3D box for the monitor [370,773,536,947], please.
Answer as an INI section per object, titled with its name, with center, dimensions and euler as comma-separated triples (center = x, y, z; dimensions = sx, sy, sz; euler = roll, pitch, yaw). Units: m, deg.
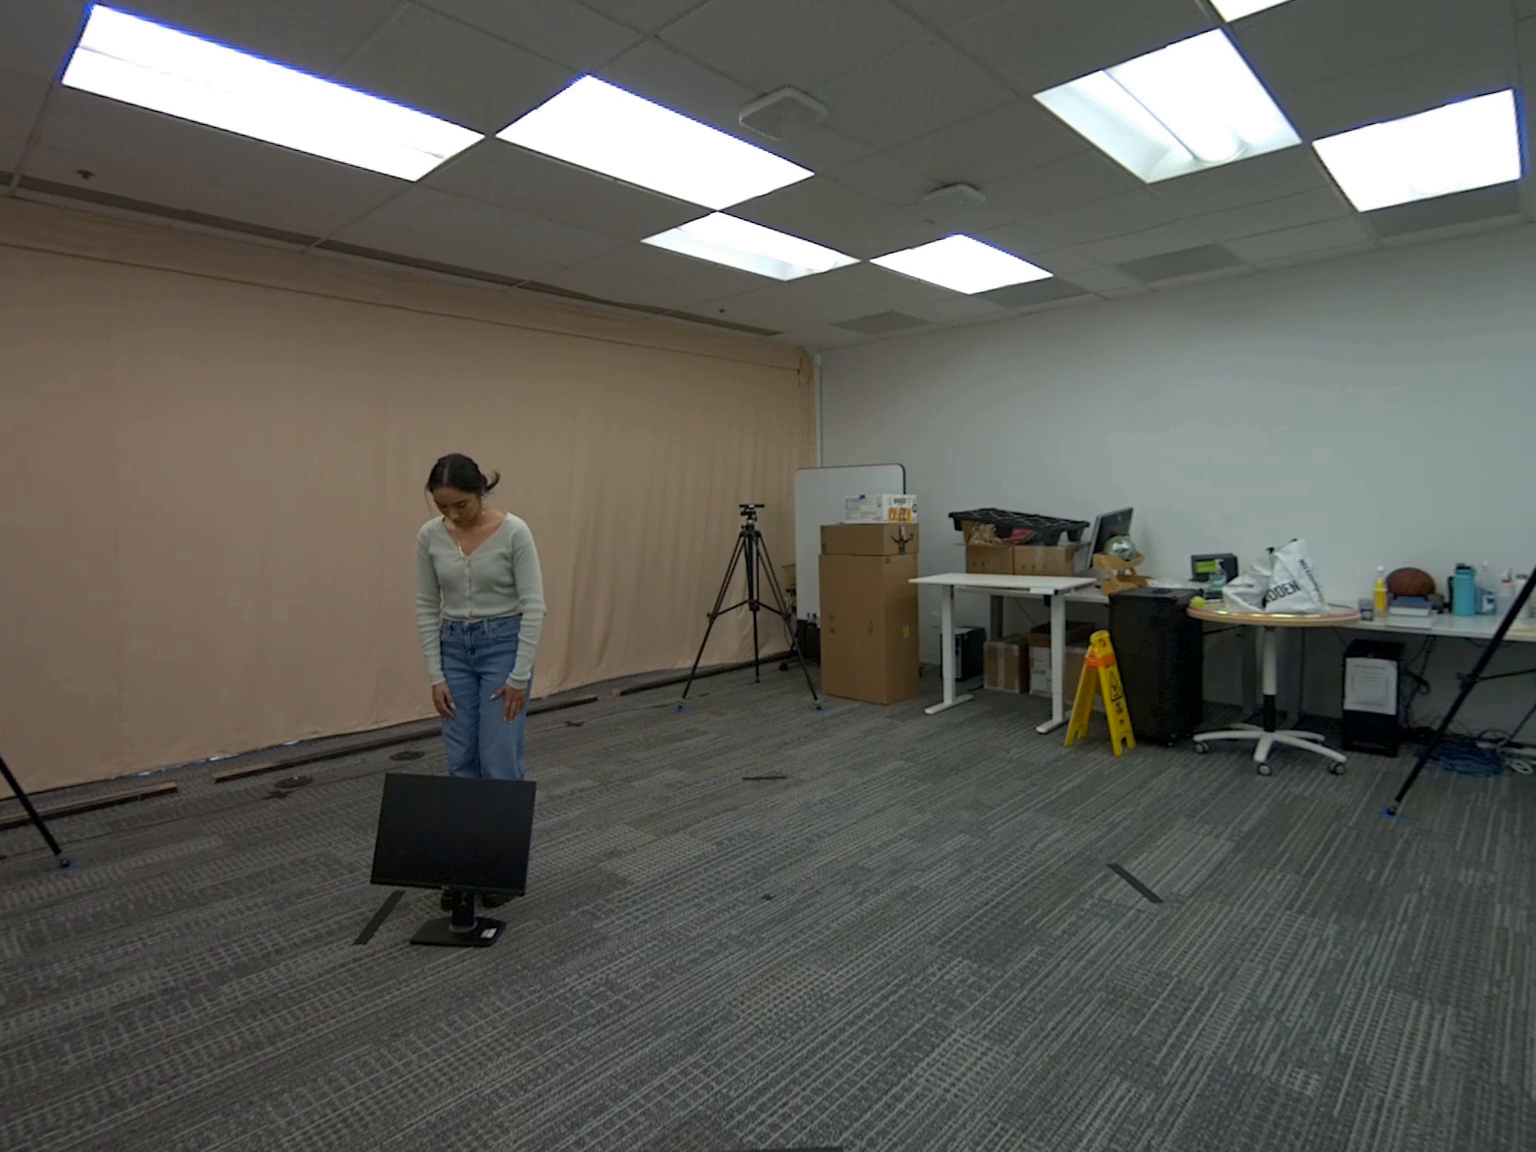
[monitor]
center = -1.026, 0.915, 2.773
dimensions = 0.535, 0.515, 0.173
euler = 1, 4, 9
